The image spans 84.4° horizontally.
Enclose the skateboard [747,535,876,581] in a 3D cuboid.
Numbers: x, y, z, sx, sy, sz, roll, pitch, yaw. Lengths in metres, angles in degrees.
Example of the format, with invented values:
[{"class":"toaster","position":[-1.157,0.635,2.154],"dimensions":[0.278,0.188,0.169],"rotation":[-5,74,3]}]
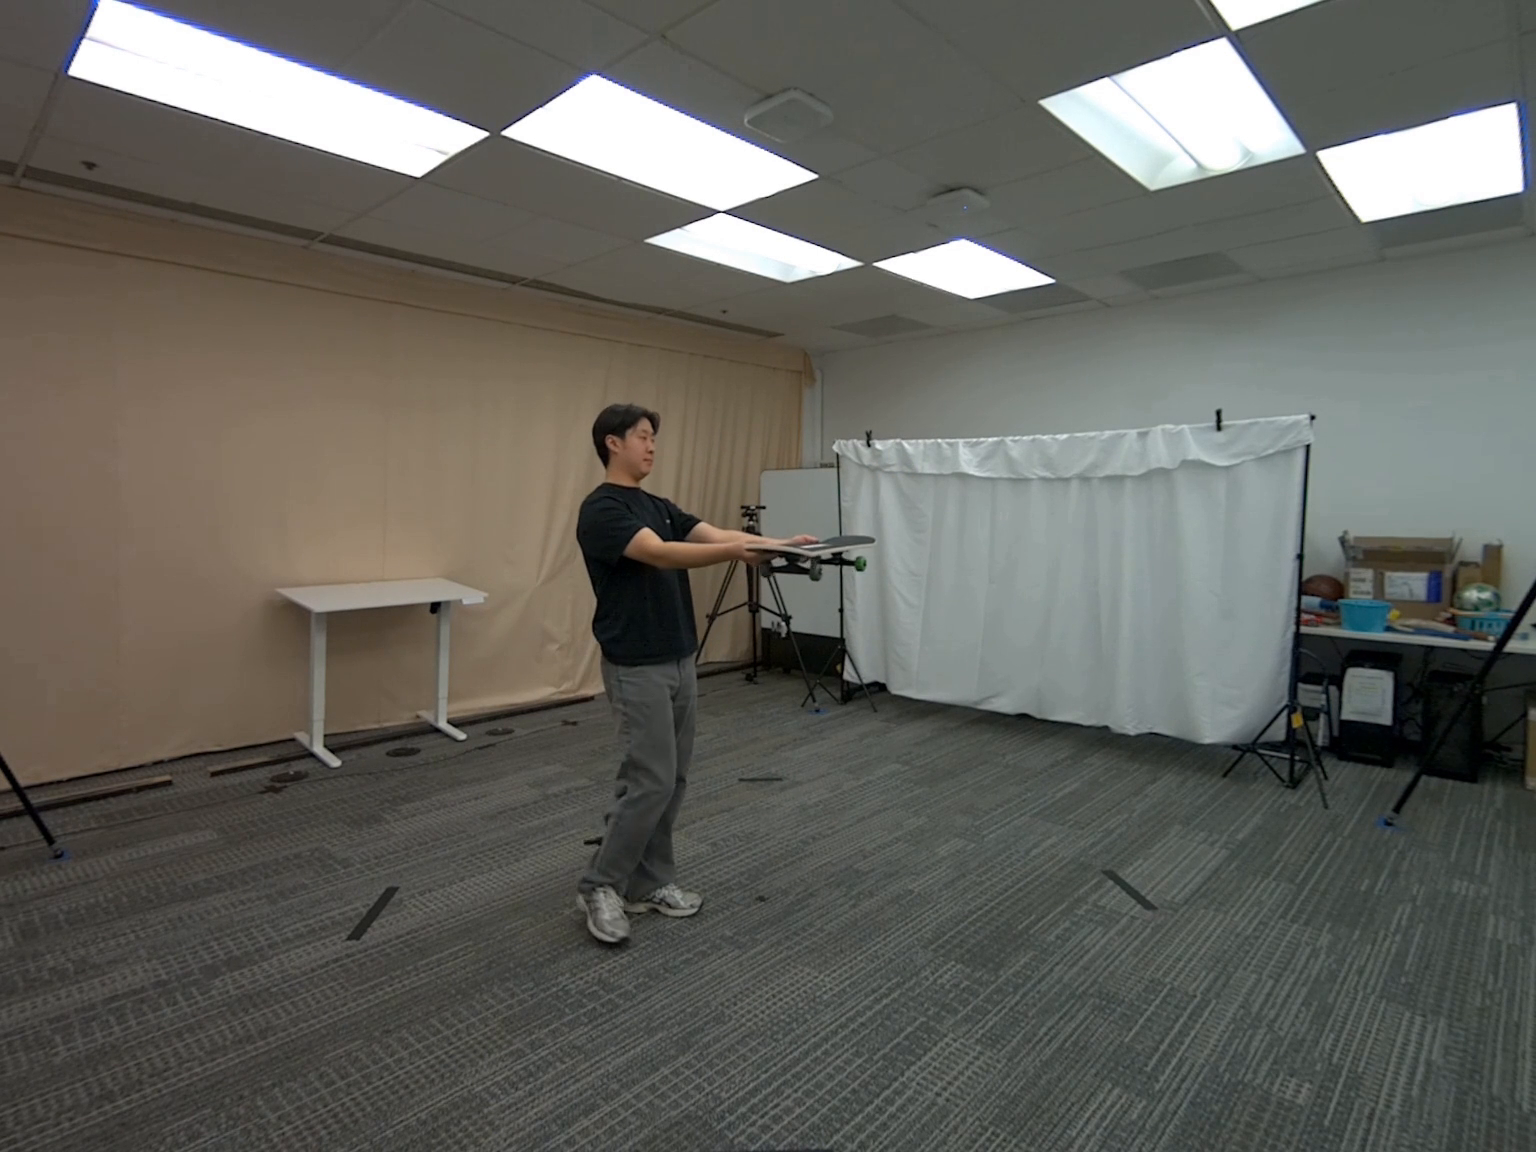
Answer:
[{"class":"skateboard","position":[0.151,-0.058,2.603],"dimensions":[0.199,0.110,0.767],"rotation":[7,7,25]}]
